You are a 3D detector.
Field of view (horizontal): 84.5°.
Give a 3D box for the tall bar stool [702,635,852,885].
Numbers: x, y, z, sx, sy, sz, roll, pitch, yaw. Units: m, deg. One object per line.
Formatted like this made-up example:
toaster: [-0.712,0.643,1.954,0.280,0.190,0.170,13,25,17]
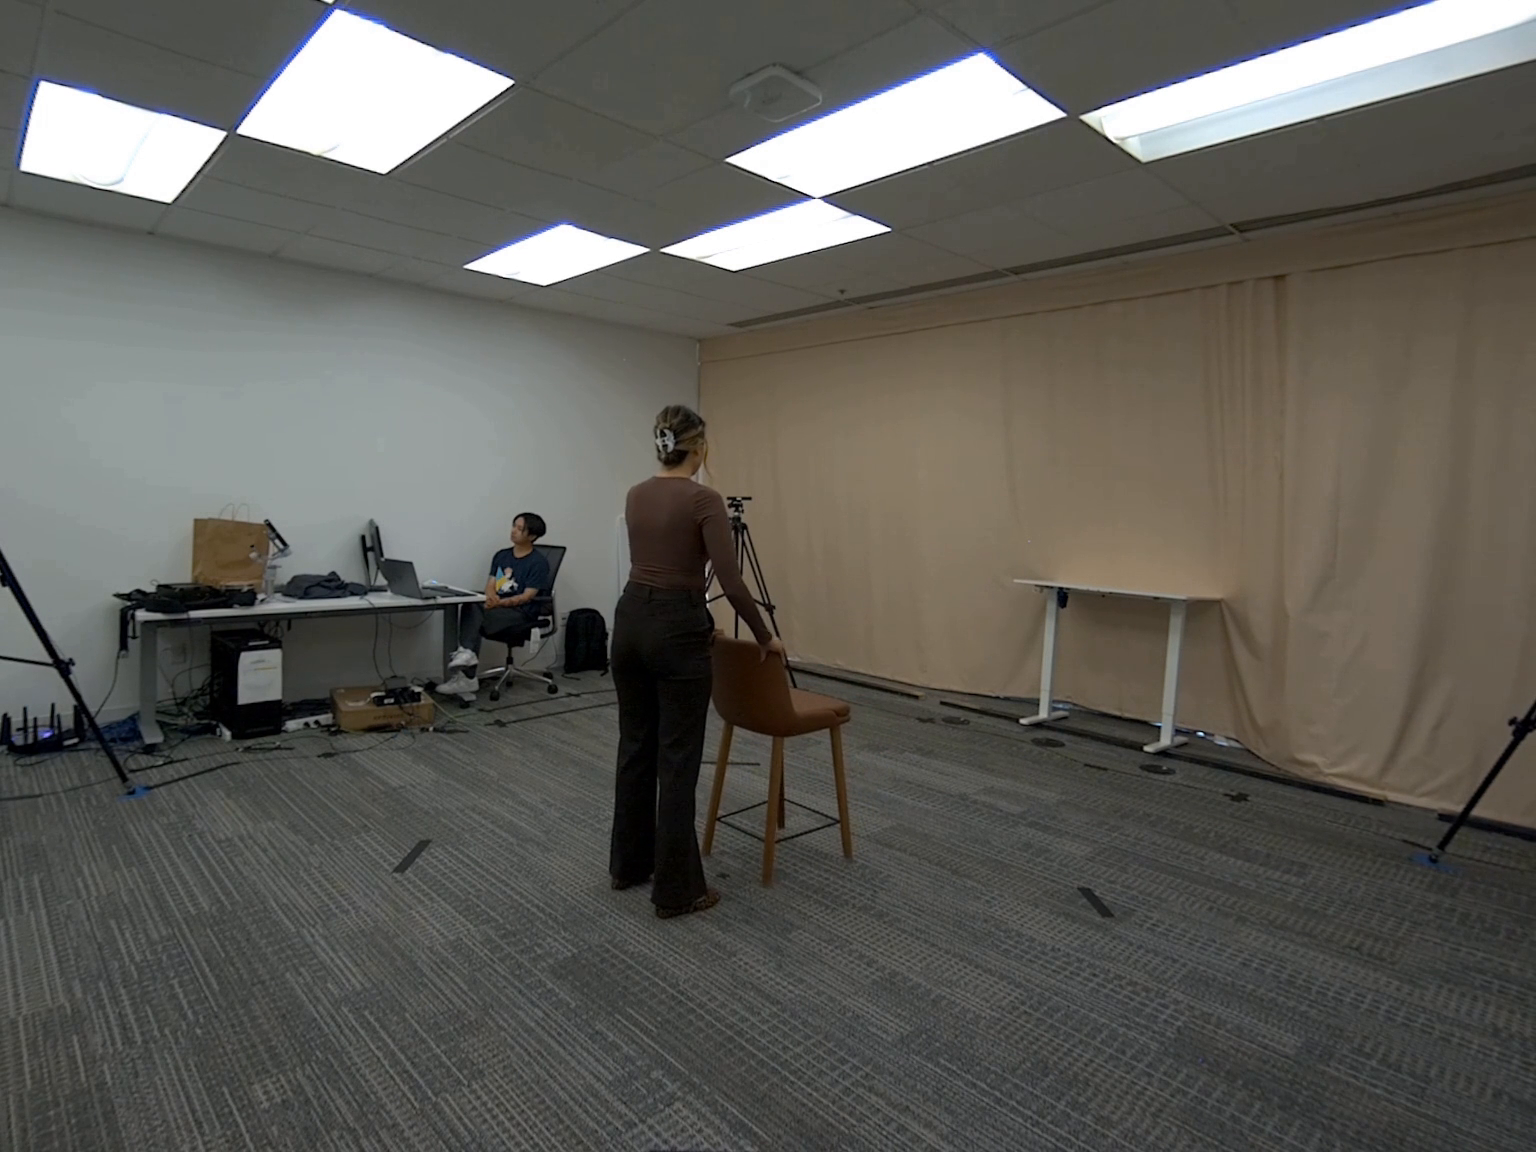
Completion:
tall bar stool: [0.021,0.657,3.275,0.457,0.887,0.468,-4,6,-41]
